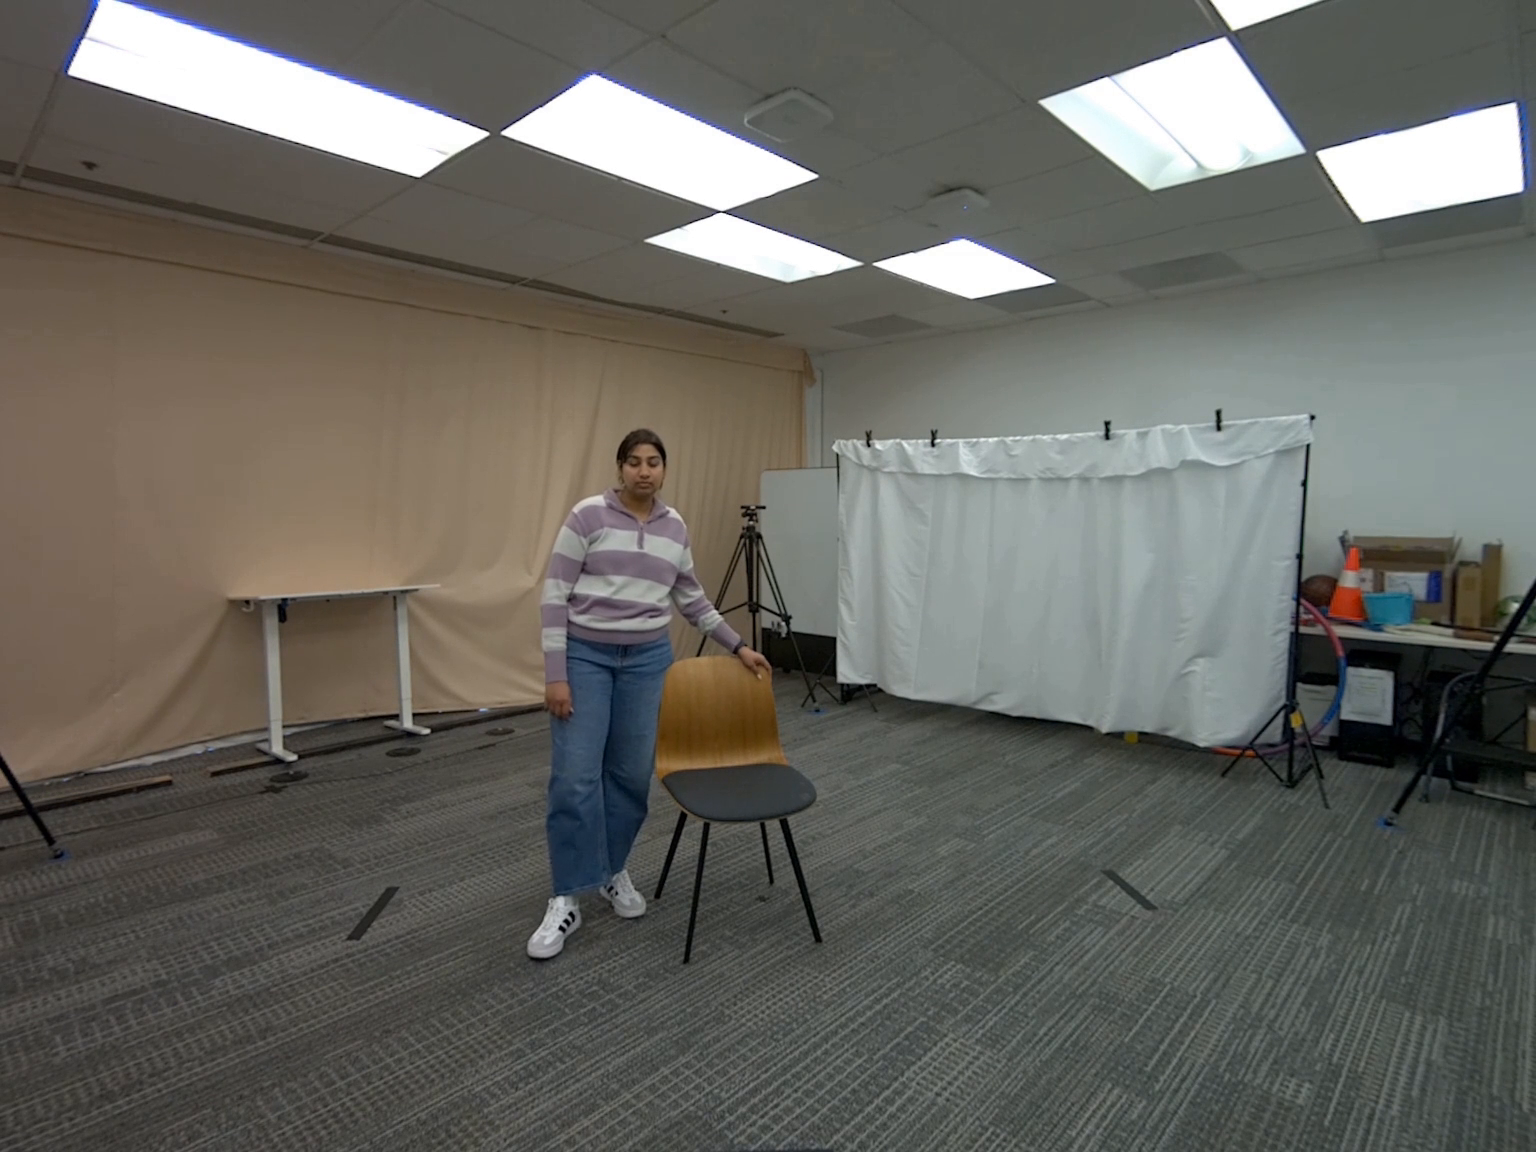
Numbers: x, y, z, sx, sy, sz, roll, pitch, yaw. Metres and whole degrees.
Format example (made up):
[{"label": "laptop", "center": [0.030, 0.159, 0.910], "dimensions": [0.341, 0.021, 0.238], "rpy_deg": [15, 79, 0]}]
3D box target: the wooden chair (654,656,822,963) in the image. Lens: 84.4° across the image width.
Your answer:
[{"label": "wooden chair", "center": [-0.105, 0.732, 2.795], "dimensions": [0.469, 0.878, 0.532], "rpy_deg": [-1, -1, -18]}]
